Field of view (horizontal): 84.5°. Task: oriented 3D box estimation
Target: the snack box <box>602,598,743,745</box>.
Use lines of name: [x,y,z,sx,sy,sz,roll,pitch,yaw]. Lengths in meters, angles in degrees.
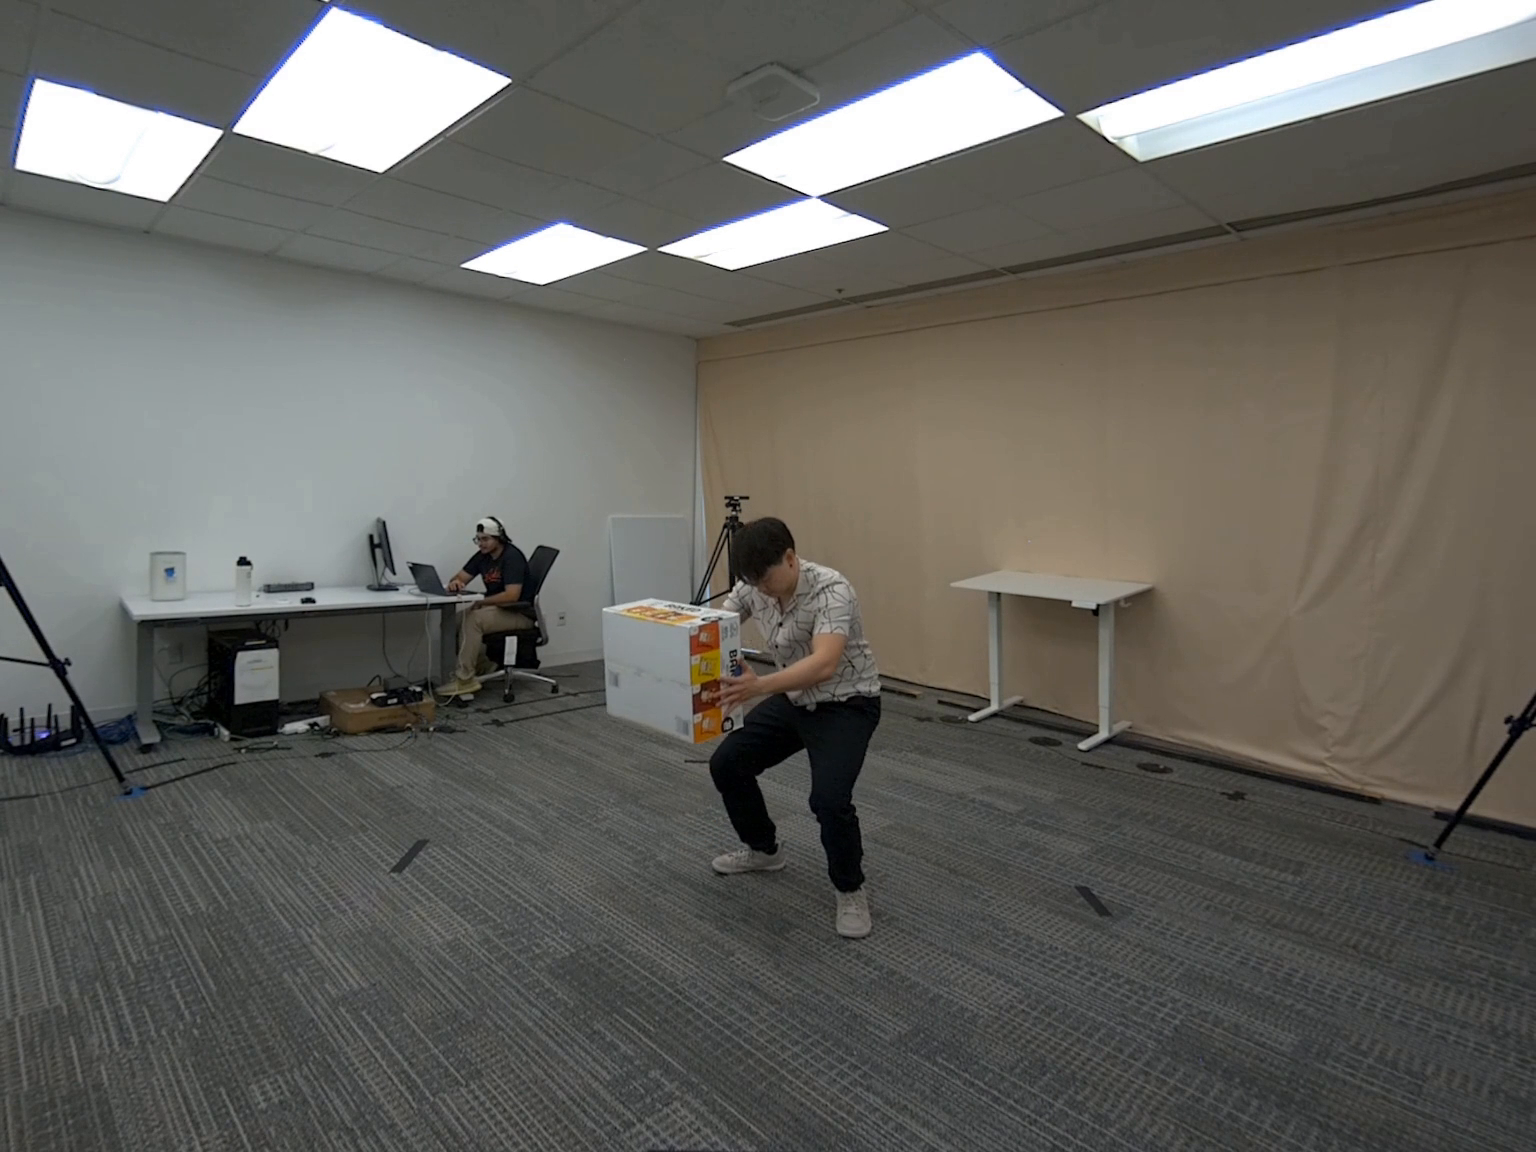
snack box: [-0.299,0.280,2.536,0.415,0.338,0.201,6,10,43]
